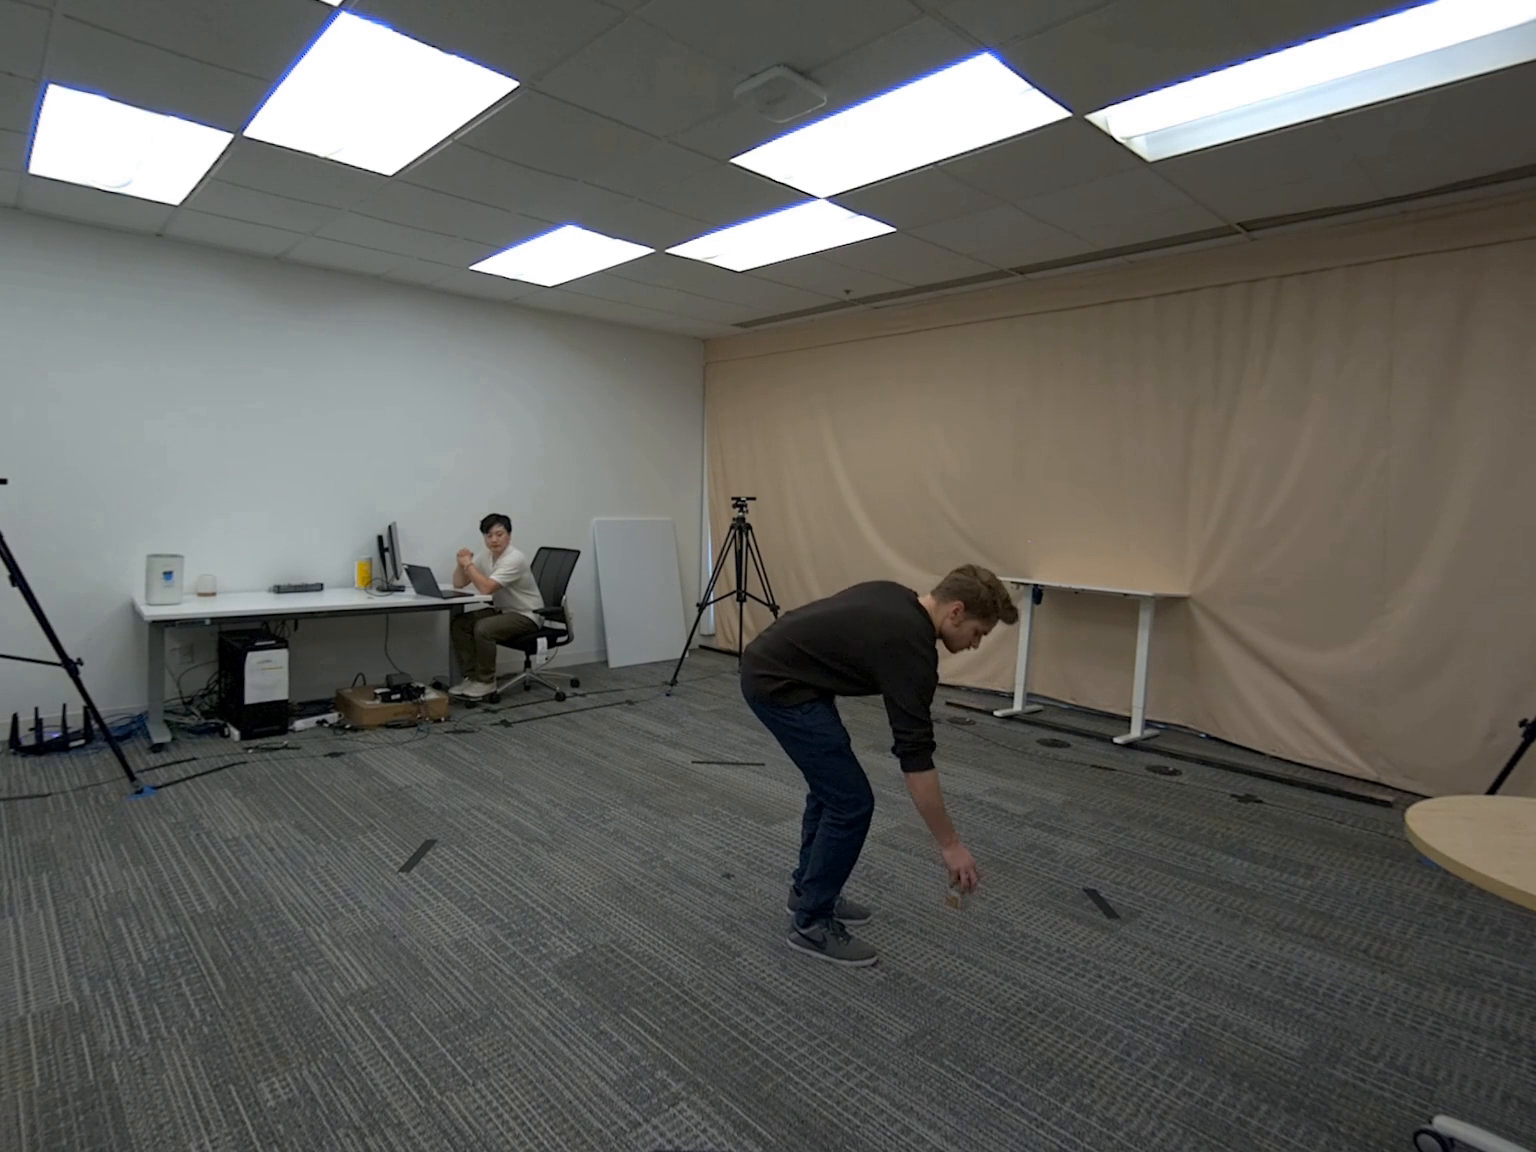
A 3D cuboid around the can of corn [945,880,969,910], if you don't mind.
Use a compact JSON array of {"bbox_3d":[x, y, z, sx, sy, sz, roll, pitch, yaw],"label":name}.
[{"bbox_3d":[0.580,0.947,2.445,0.074,0.109,0.075,-4,18,0],"label":"can of corn"}]
